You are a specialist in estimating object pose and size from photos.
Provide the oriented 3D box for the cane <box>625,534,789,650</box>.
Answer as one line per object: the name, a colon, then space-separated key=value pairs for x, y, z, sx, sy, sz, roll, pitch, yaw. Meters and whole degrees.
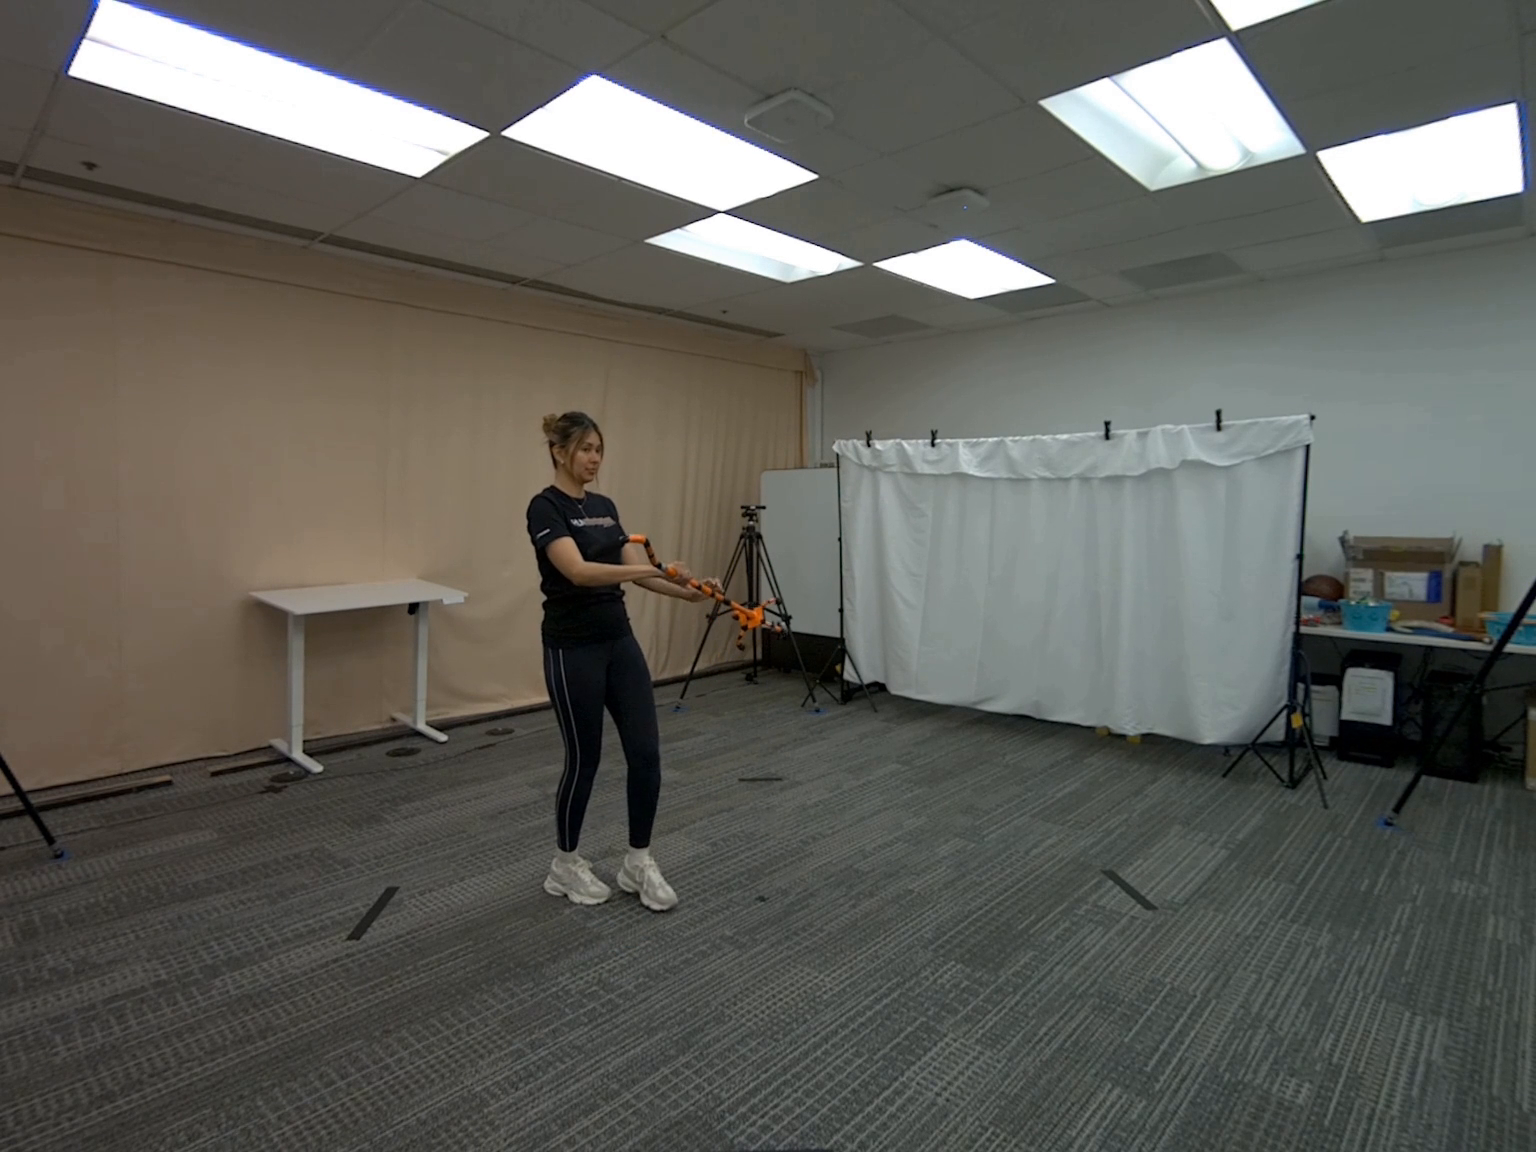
cane: x=-0.223 y=0.044 z=2.738 sx=0.210 sy=0.154 sz=0.876 roll=-17 pitch=-26 yaw=24
